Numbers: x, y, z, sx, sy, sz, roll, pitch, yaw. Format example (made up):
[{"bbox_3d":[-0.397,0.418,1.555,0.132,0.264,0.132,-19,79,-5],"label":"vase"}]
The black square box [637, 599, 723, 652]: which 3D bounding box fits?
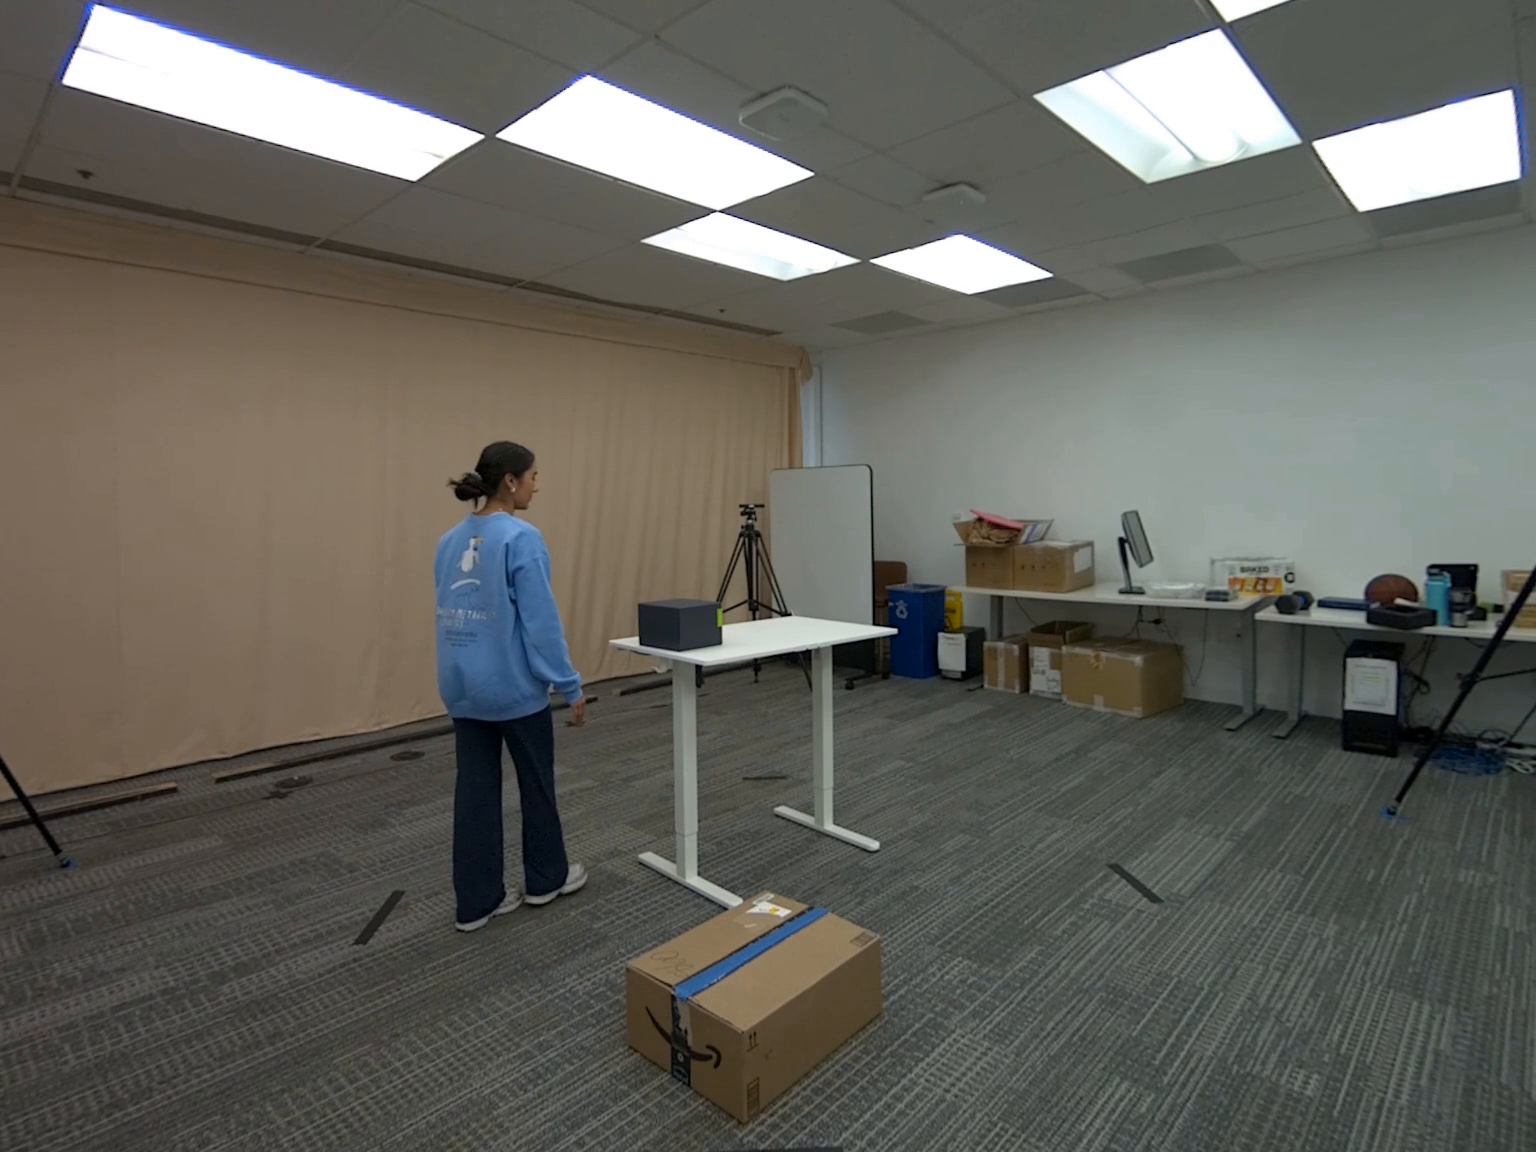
[{"bbox_3d":[-0.317,0.175,3.083,0.235,0.155,0.210,3,5,44],"label":"black square box"}]
